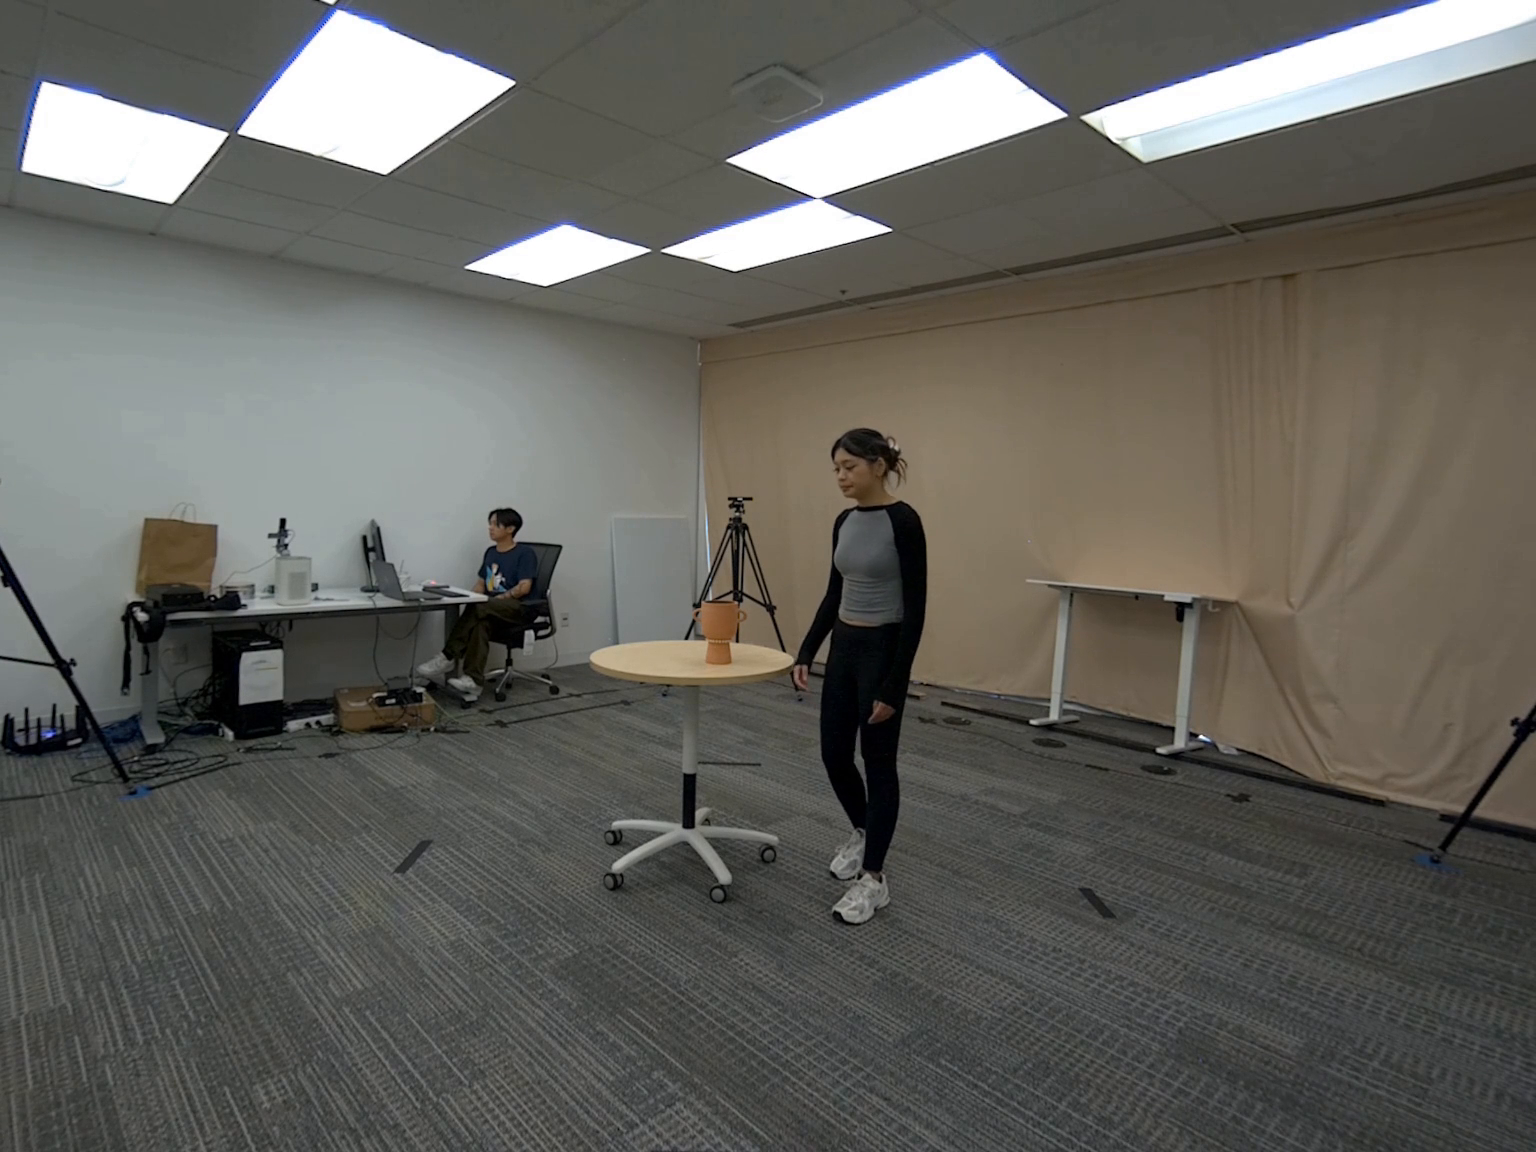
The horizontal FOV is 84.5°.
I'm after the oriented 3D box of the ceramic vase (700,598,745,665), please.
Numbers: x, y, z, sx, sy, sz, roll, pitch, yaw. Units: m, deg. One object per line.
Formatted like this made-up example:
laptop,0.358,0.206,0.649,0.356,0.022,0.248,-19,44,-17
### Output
ceramic vase,-0.180,0.203,3.070,0.162,0.219,0.132,4,5,32
